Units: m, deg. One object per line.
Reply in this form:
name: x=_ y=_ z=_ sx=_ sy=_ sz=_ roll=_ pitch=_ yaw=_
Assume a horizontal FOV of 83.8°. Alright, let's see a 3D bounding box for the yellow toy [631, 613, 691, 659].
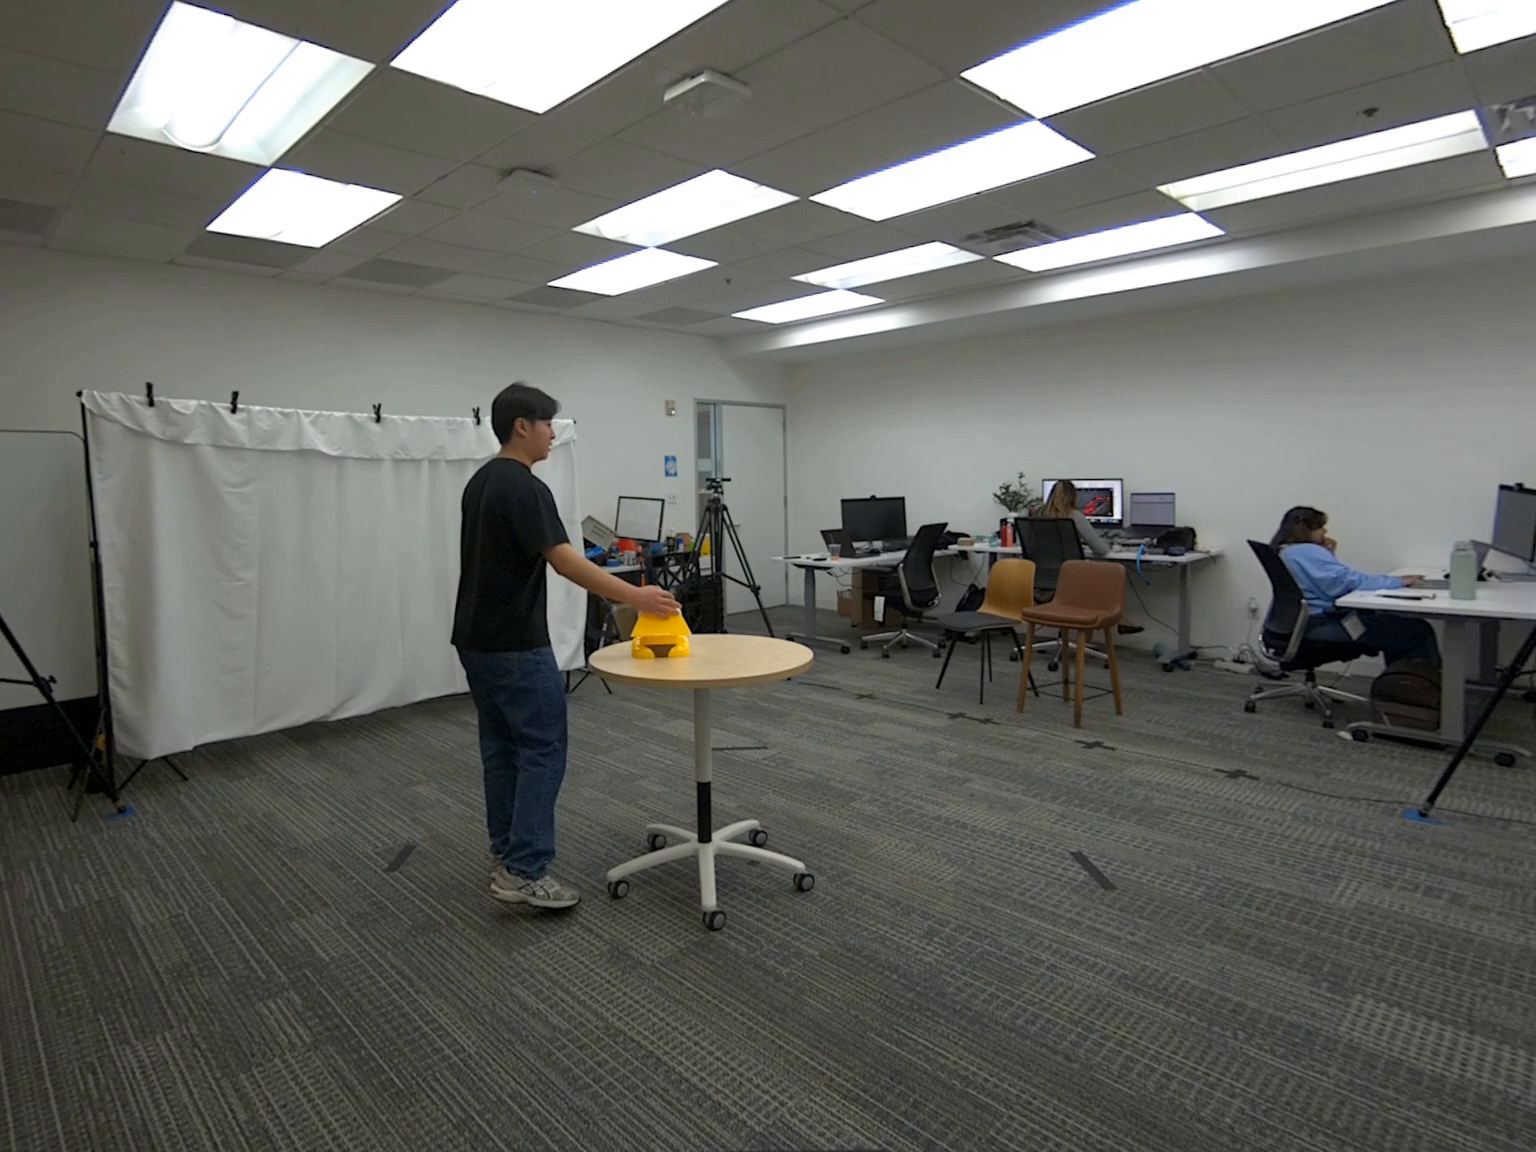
yellow toy: x=-0.374 y=0.156 z=2.953 sx=0.203 sy=0.230 sz=0.195 roll=-2 pitch=4 yaw=-8
